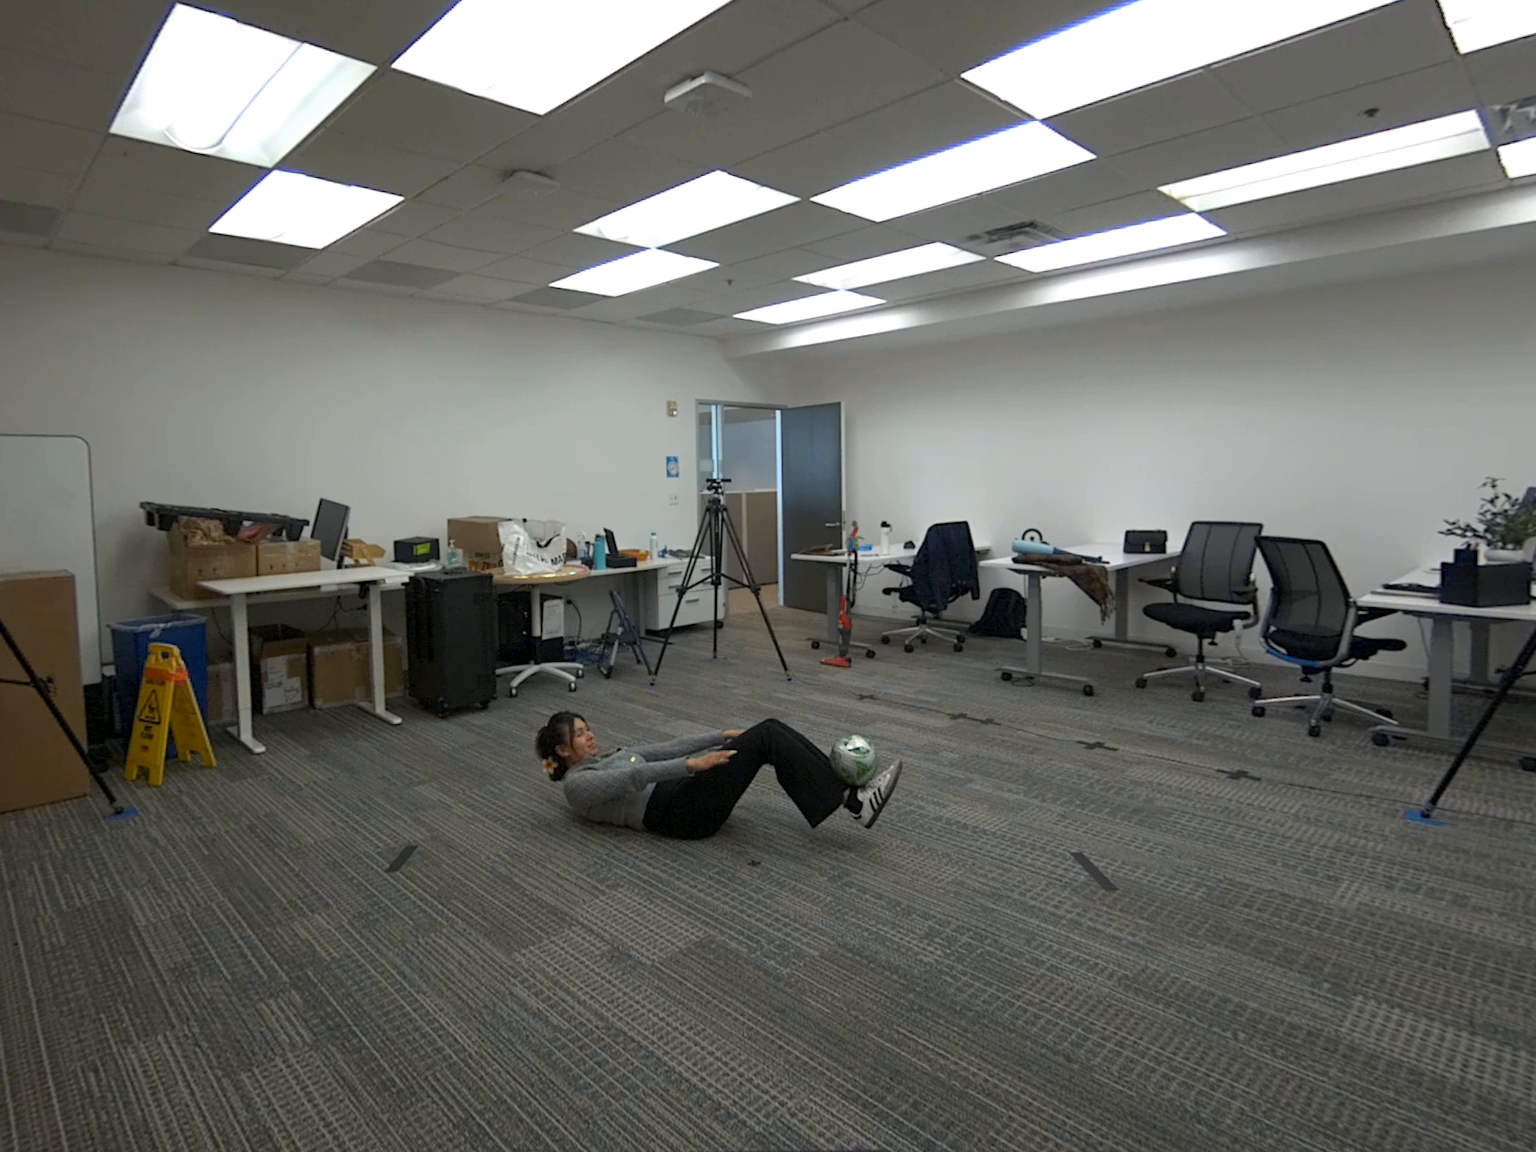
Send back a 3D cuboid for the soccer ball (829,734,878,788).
[{"bbox_3d":[0.334,0.702,3.256,0.187,0.187,0.188,-1,5,-2],"label":"soccer ball"}]
